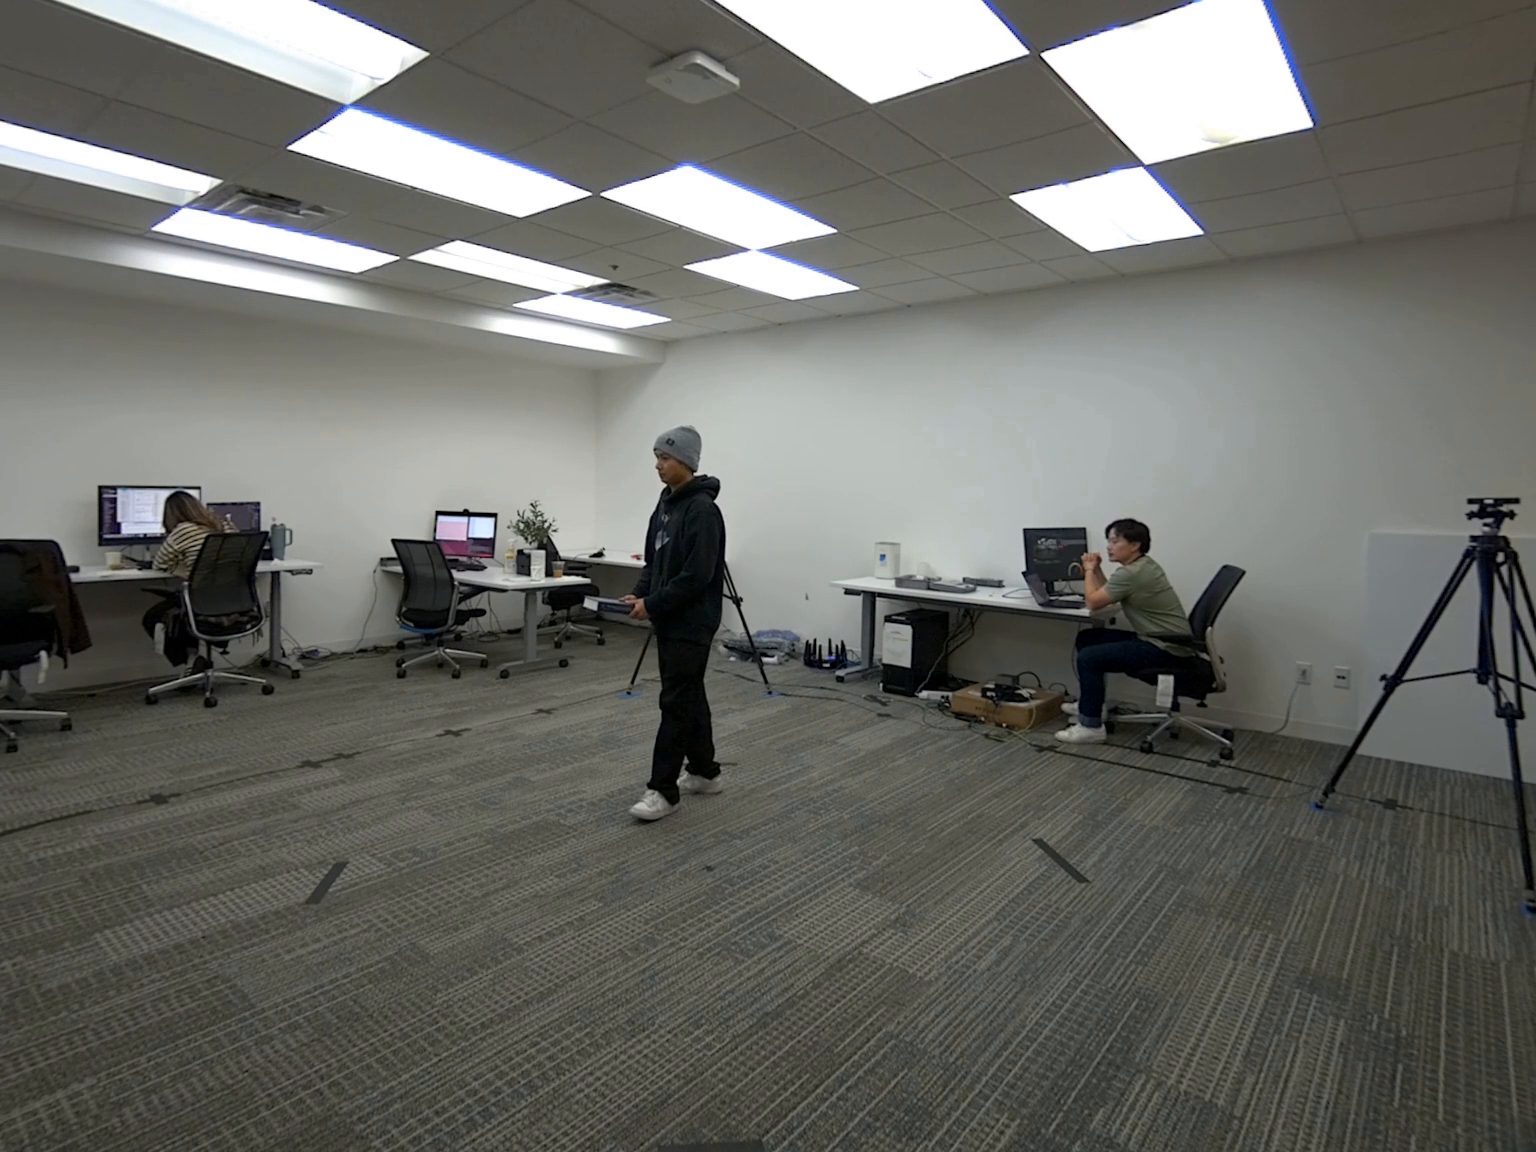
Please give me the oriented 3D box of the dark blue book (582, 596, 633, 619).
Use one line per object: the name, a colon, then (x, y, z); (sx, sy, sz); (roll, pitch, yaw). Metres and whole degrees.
dark blue book: (-0.649, 0.127, 3.640); (0.239, 0.045, 0.168); (7, 1, -25)
